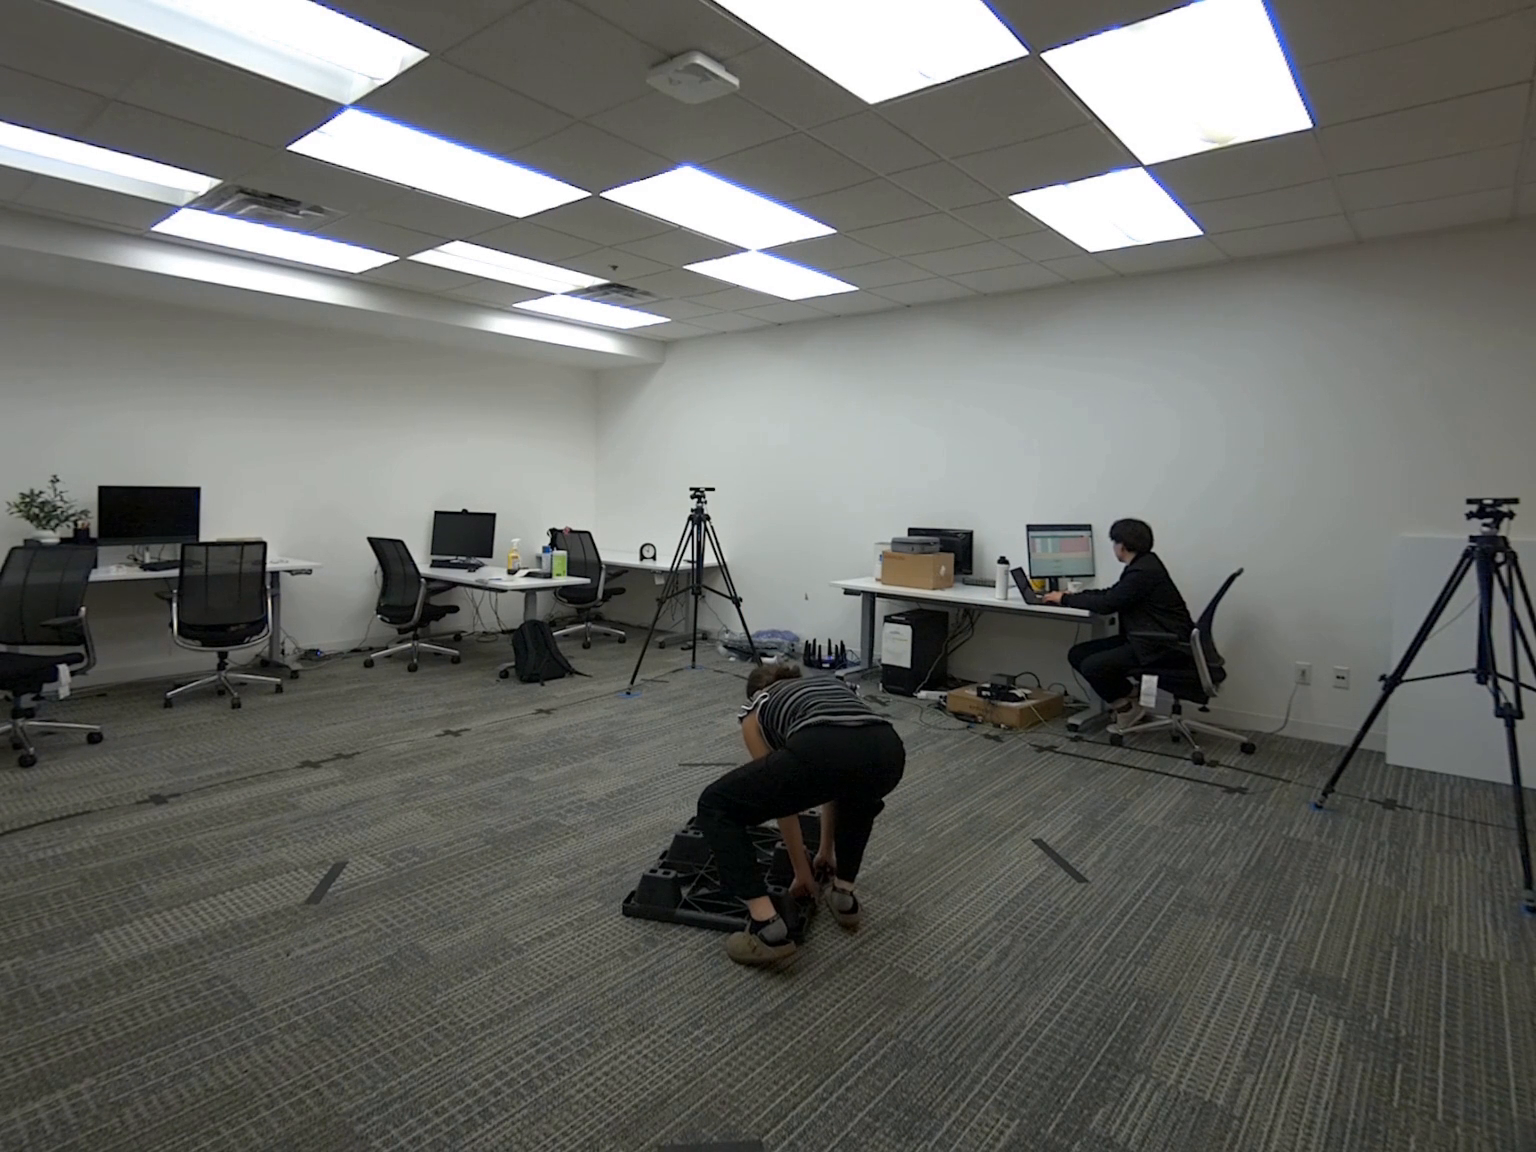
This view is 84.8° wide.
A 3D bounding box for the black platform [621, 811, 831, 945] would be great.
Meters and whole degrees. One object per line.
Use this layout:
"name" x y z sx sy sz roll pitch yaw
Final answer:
"black platform" -0.108 1.006 3.048 0.615 0.143 0.796 2 6 13
